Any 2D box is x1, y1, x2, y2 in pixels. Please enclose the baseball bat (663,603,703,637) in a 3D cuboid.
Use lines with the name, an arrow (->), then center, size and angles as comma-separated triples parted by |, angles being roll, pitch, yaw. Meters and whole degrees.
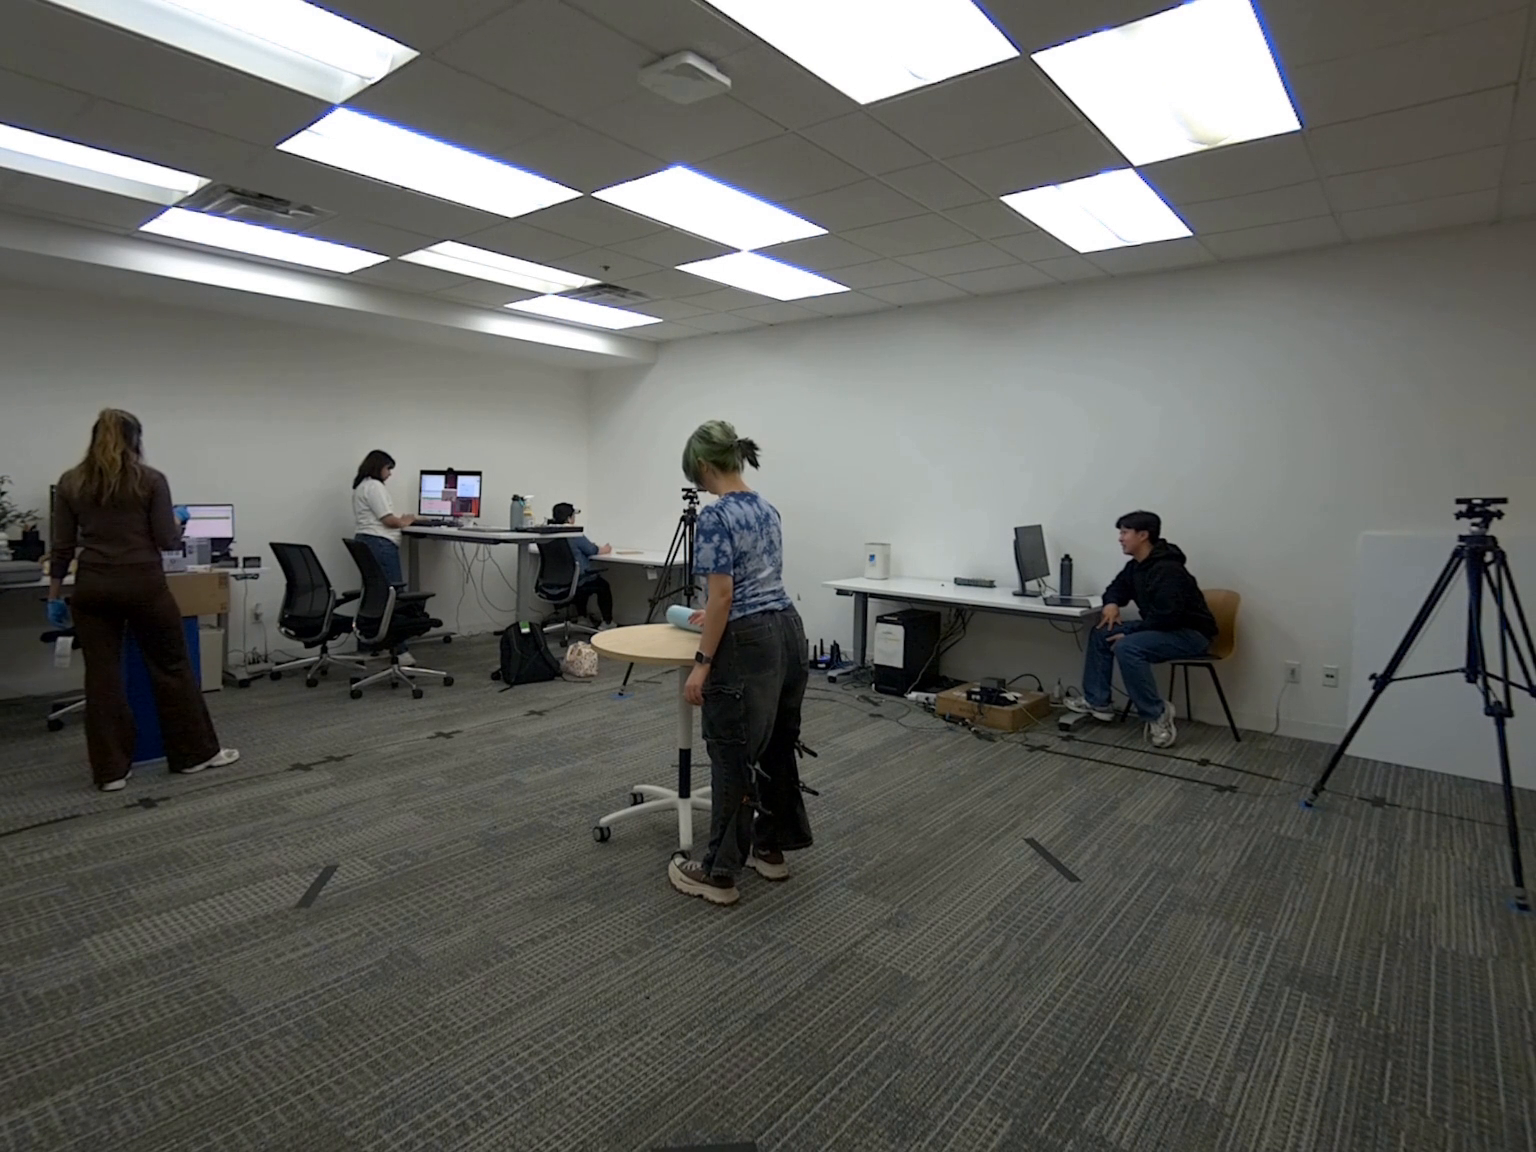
baseball bat -> -0.244, 0.207, 3.531 | 0.086, 0.088, 0.563 | -3, 10, -41
